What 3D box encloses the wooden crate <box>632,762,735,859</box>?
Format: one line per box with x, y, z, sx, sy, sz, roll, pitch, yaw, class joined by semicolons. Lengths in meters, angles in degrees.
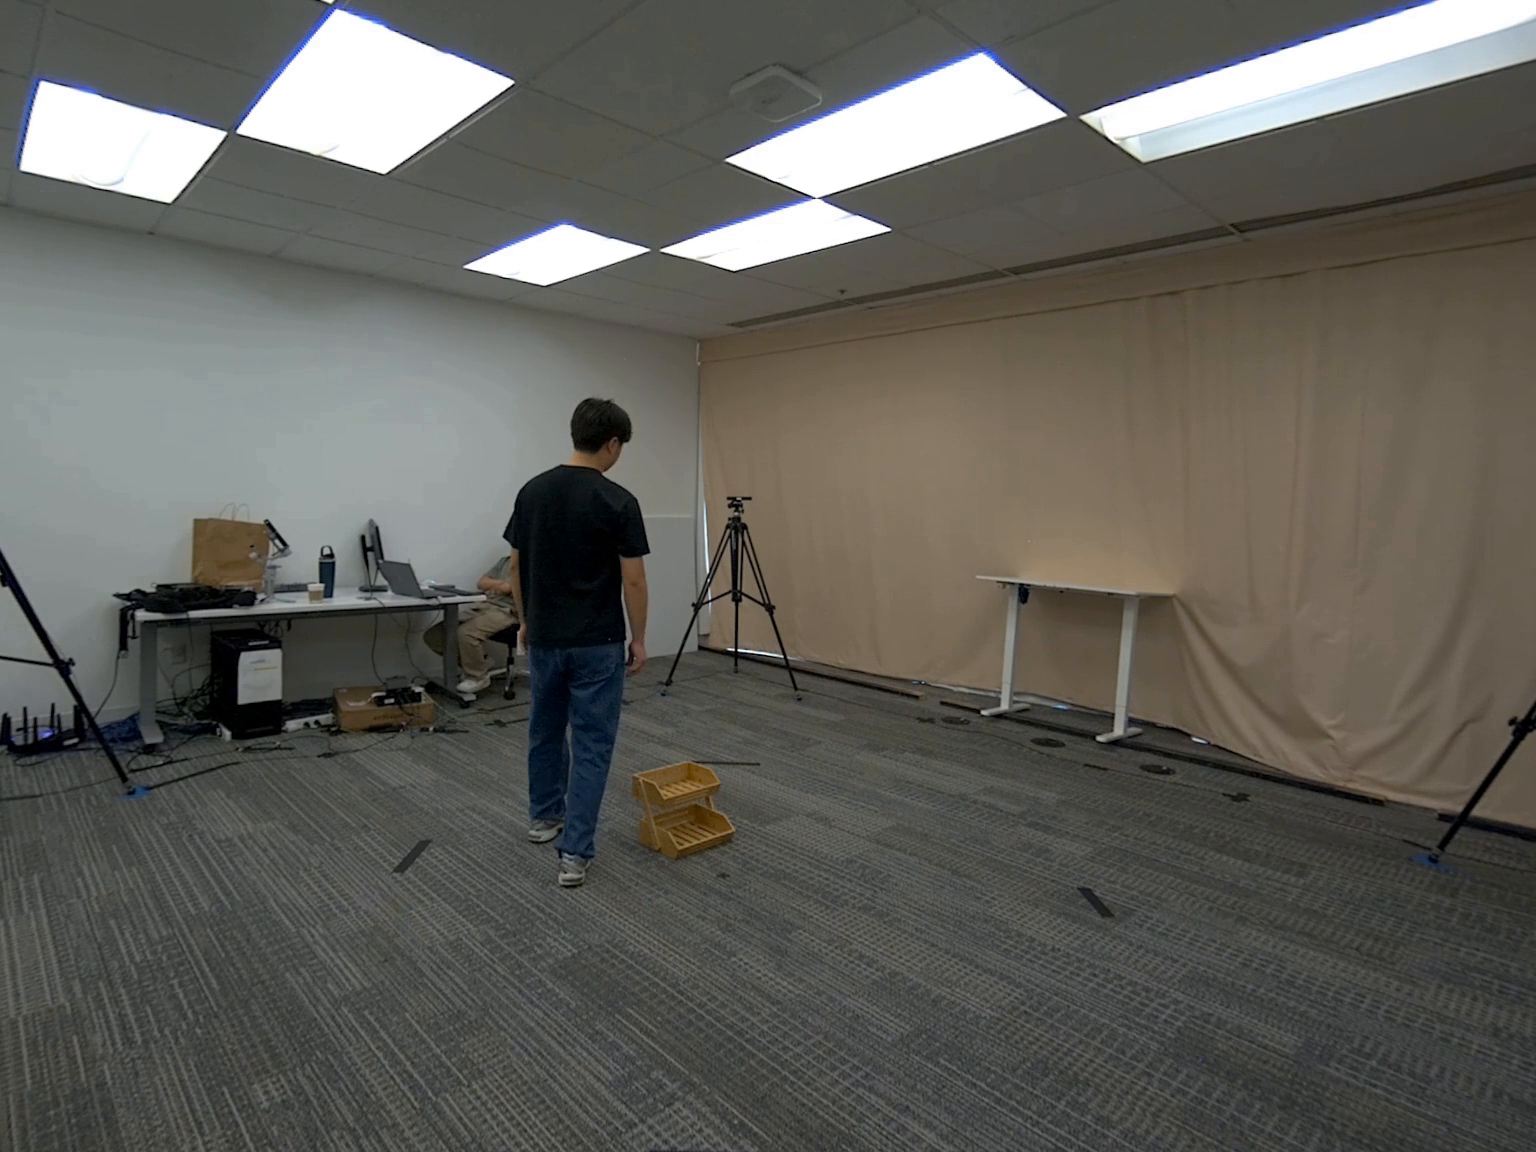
-0.347;0.944;3.422;0.309;0.273;0.317;4;5;45;wooden crate
